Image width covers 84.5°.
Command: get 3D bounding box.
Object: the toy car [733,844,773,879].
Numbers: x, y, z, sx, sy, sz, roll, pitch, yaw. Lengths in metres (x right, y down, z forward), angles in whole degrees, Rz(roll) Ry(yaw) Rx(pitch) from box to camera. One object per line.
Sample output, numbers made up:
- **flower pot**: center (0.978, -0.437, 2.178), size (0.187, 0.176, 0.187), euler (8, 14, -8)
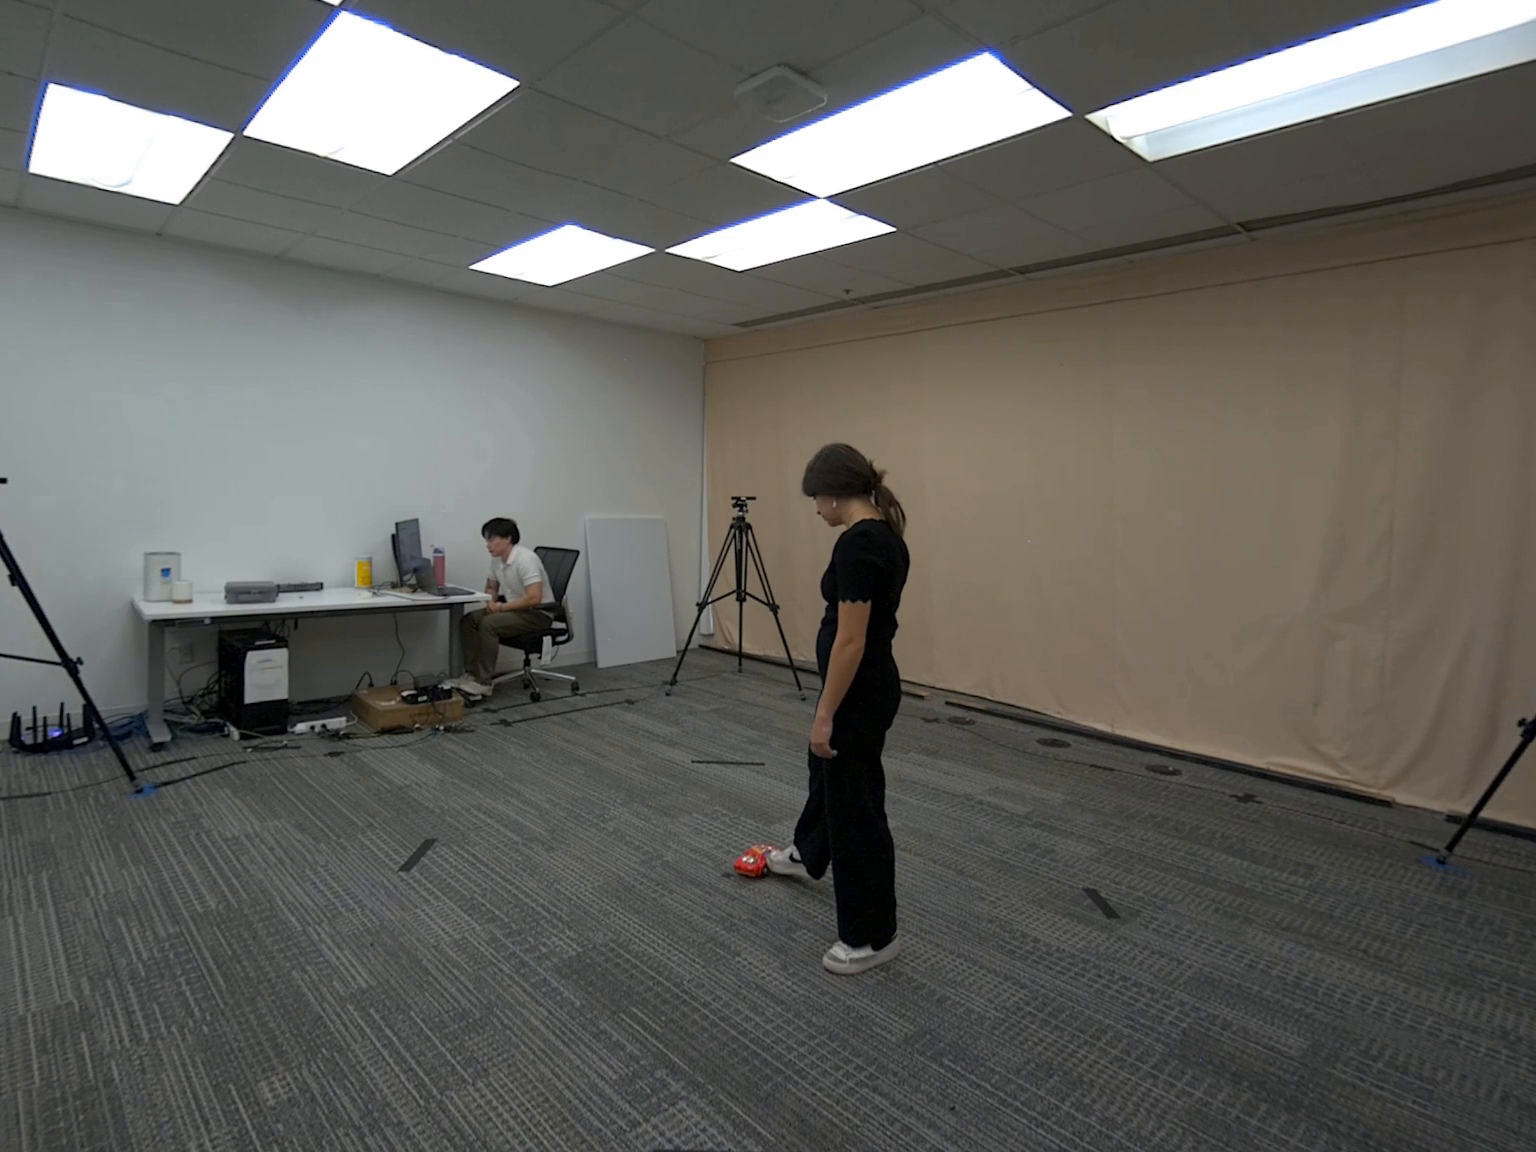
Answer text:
- **toy car**: center (-0.051, 1.071, 3.157), size (0.133, 0.083, 0.248), euler (4, -5, 27)
